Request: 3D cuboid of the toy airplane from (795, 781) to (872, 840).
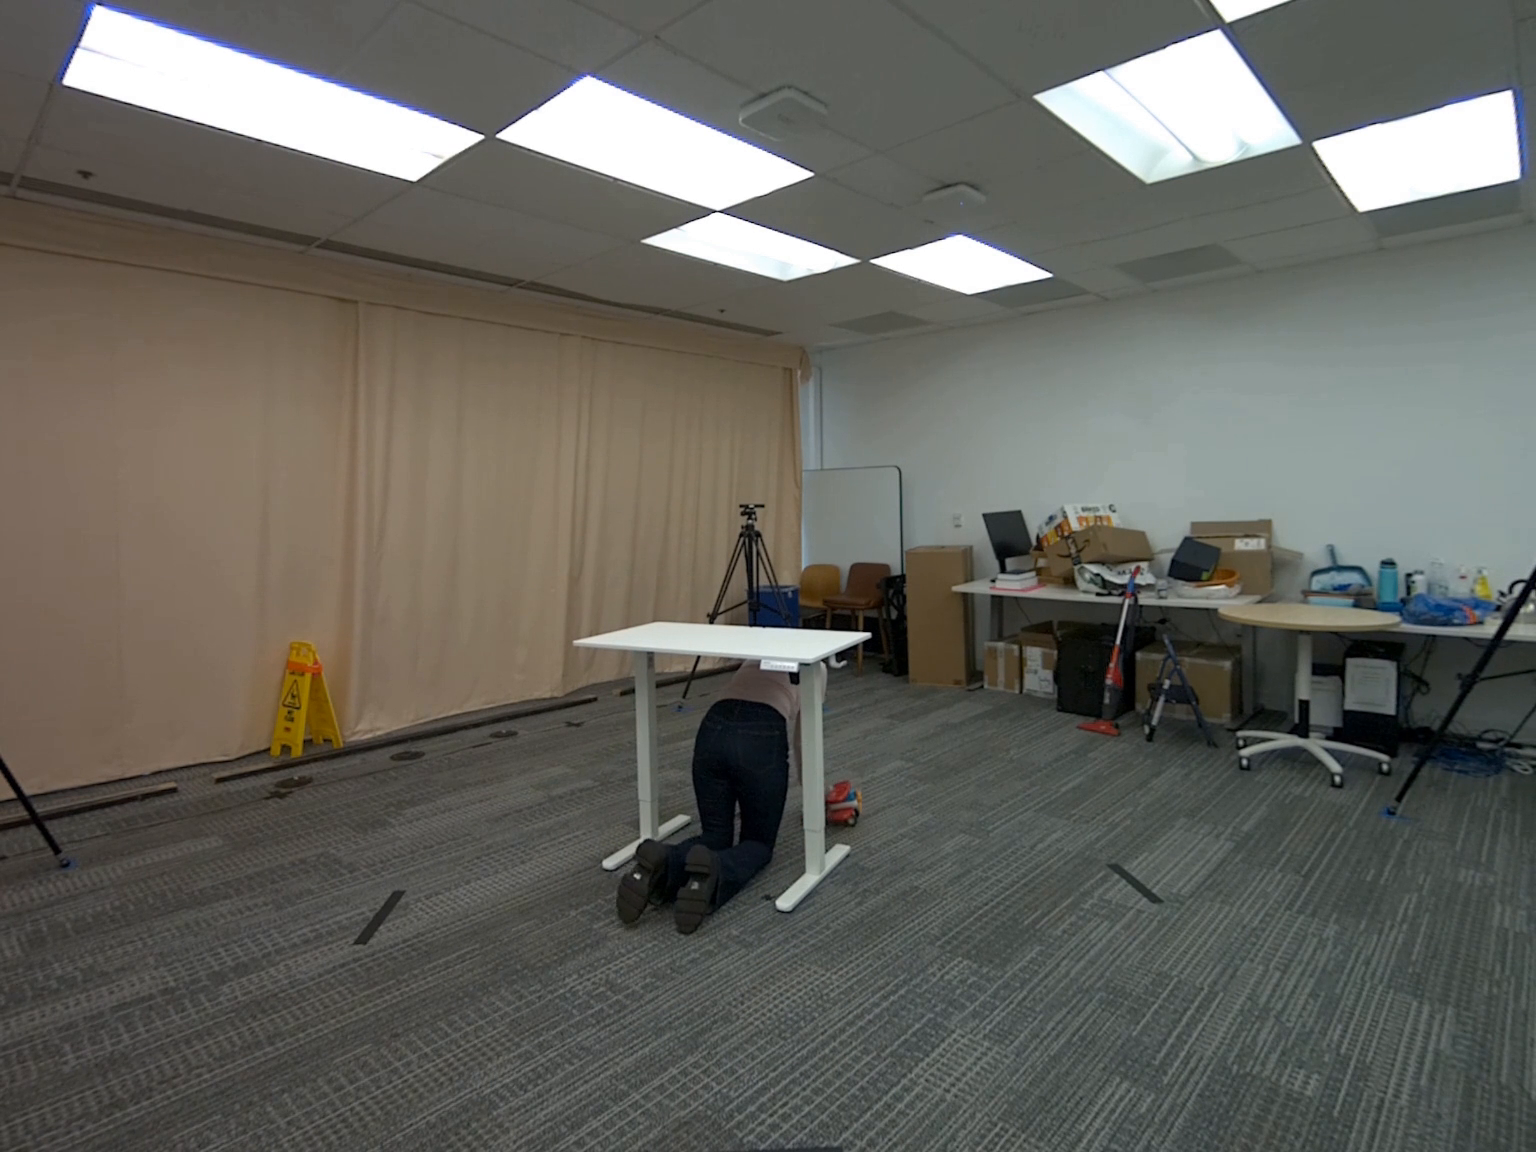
[{"bbox_3d":[0.276,1.006,3.661,0.256,0.156,0.255,0,4,-12],"label":"toy airplane"}]
